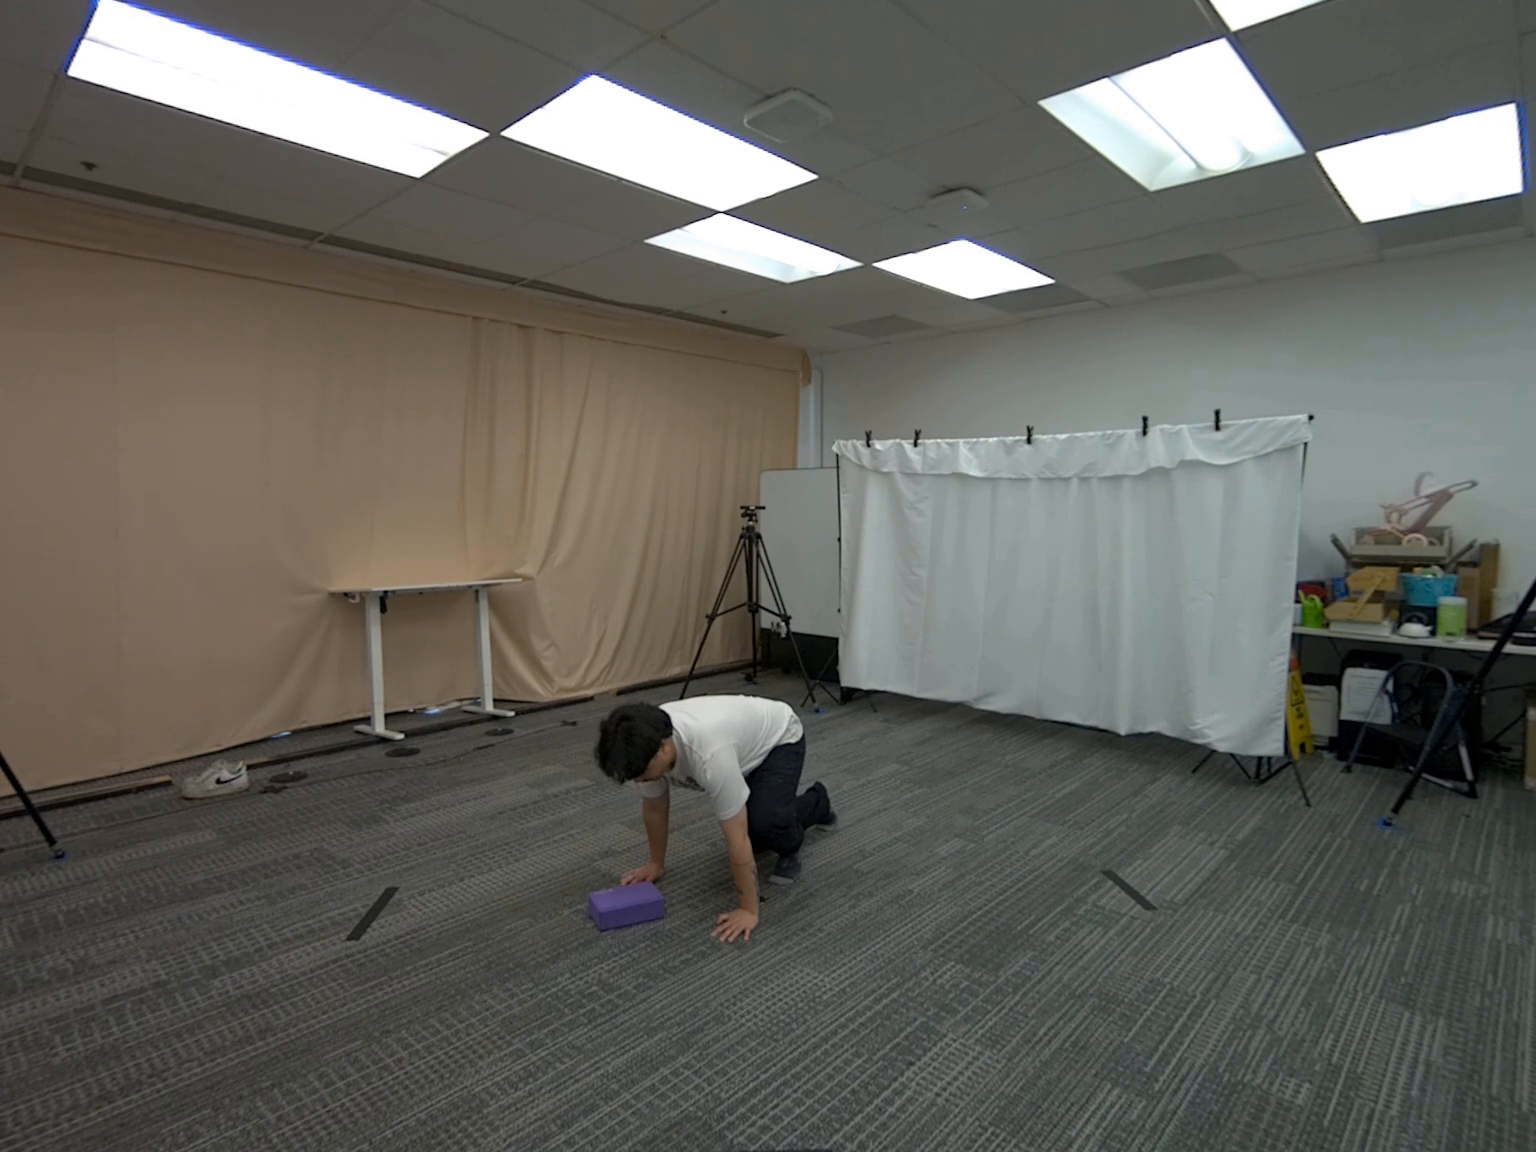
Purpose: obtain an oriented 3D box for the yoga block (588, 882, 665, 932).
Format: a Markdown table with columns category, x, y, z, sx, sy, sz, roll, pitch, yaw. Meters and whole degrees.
| category | x | y | z | sx | sy | sz | roll | pitch | yaw |
| --- | --- | --- | --- | --- | --- | --- | --- | --- | --- |
| yoga block | -0.480 | 1.122 | 2.867 | 0.224 | 0.076 | 0.153 | -3 | 5 | -25 |
